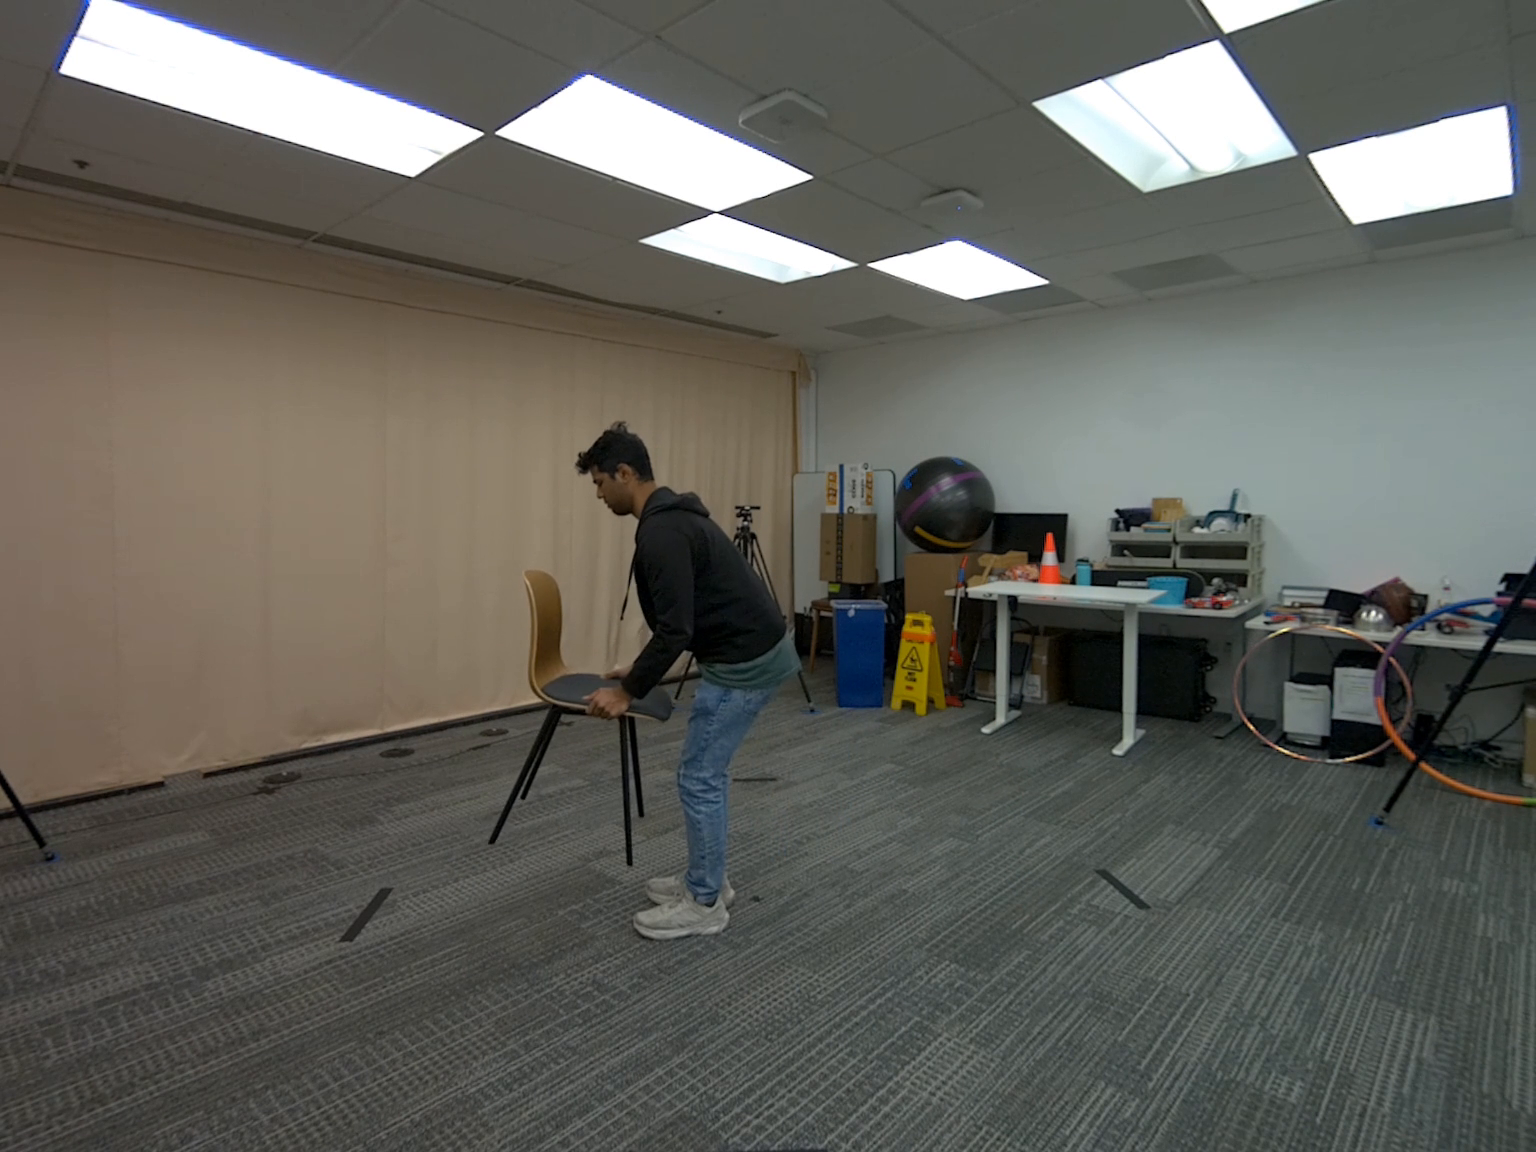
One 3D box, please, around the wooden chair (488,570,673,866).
[{"bbox_3d":[-0.584,0.444,2.829,0.522,0.877,0.480,5,1,-3],"label":"wooden chair"}]
